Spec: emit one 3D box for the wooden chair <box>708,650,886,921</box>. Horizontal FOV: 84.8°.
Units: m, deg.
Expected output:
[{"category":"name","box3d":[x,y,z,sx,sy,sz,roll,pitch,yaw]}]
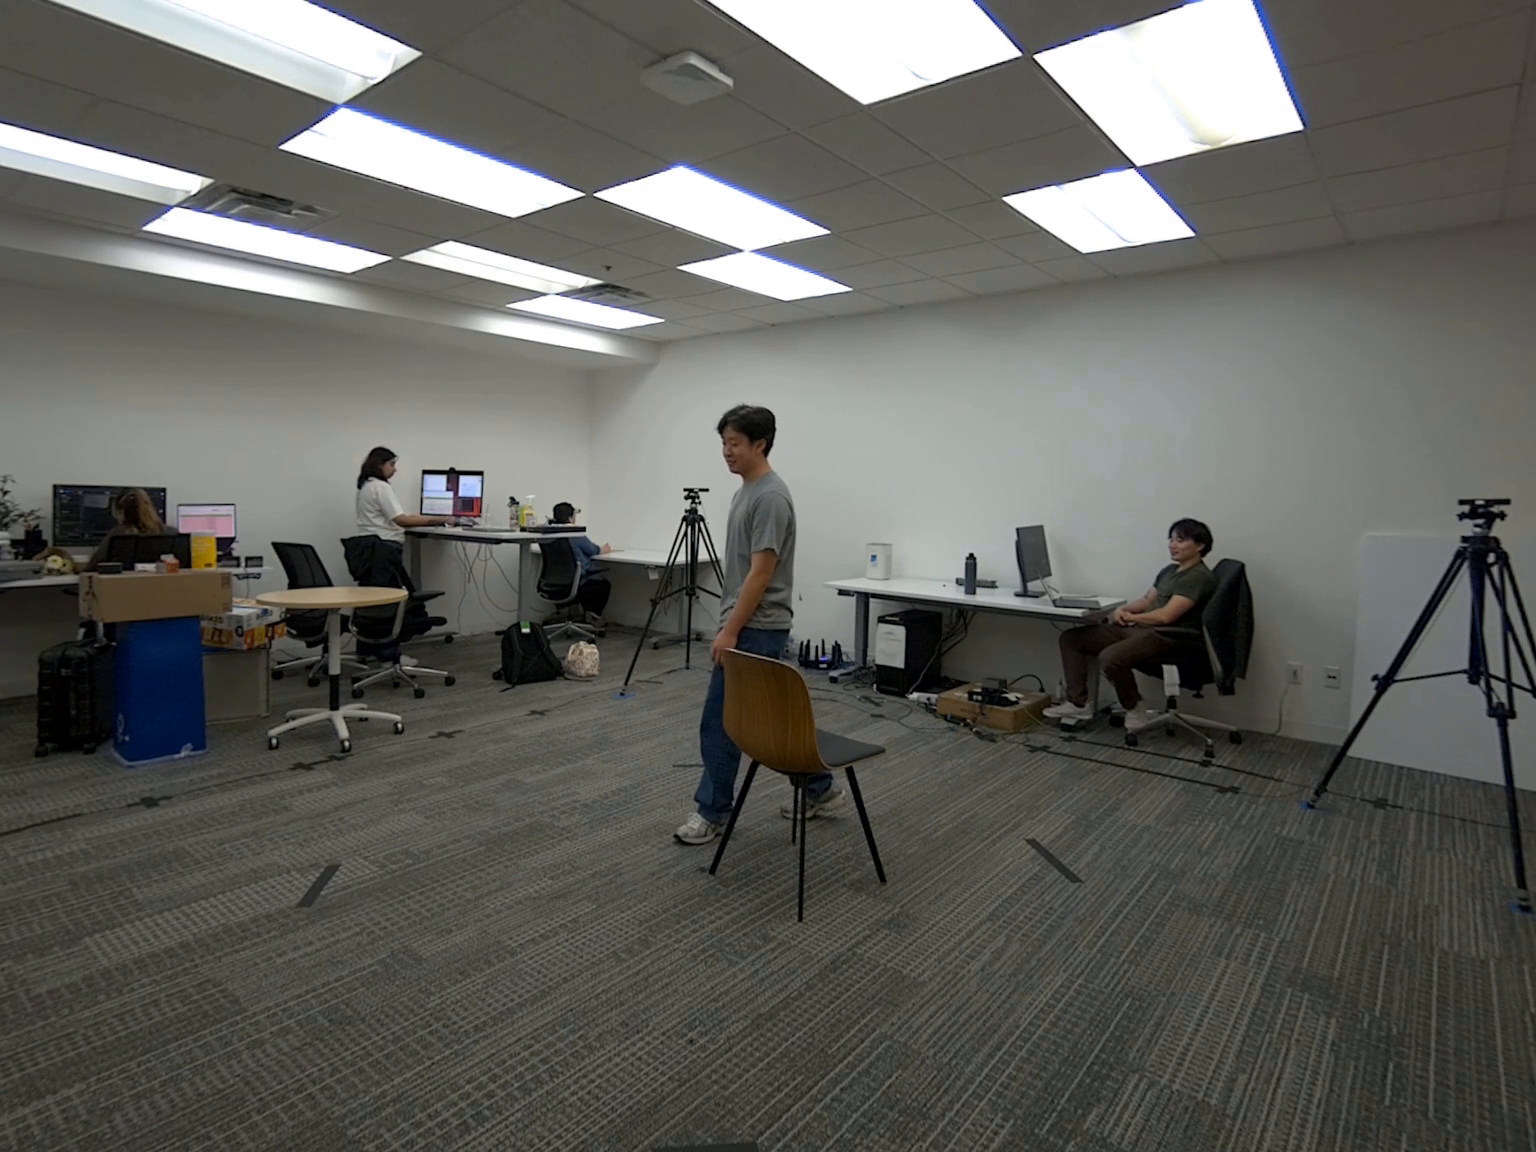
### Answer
[{"category":"wooden chair","box3d":[0.111,0.655,3.033,0.509,0.872,0.494,-7,8,-43]}]
